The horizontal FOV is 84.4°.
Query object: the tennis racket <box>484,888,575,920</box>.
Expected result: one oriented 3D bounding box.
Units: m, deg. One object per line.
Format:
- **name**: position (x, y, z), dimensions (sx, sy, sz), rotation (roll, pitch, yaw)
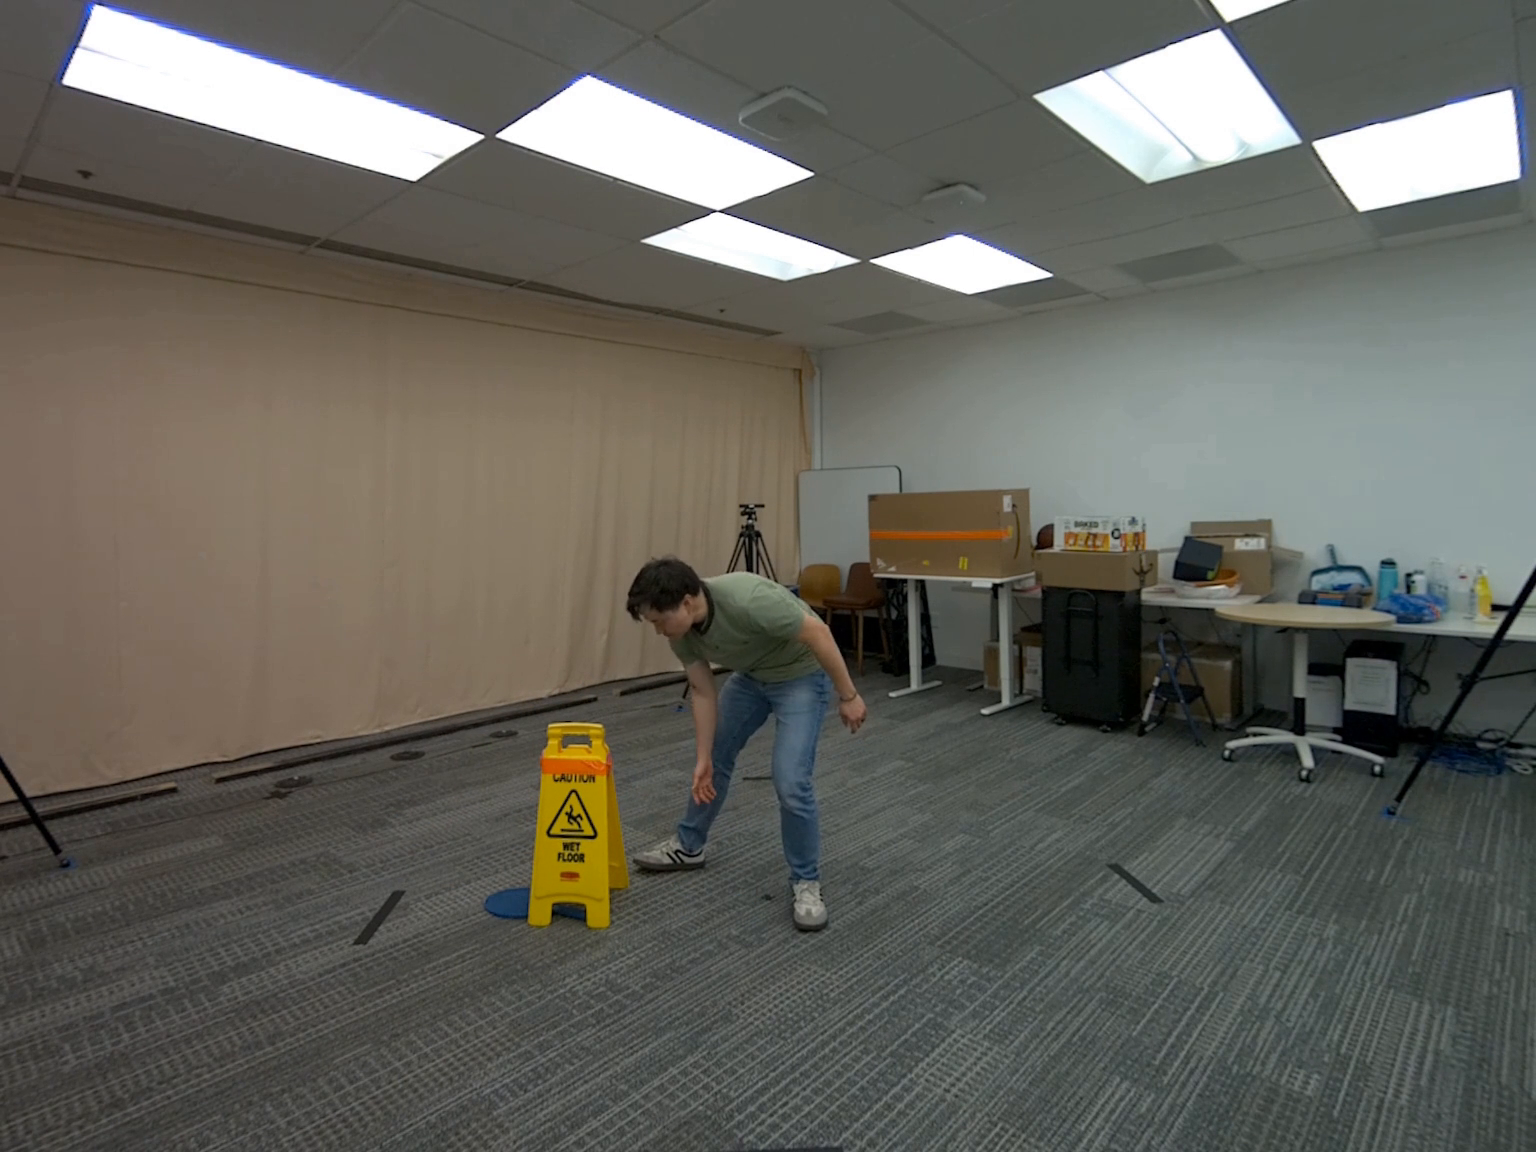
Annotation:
- **tennis racket**: position (-0.954, 1.158, 3.015), dimensions (0.445, 0.032, 0.208), rotation (0, 5, 30)
